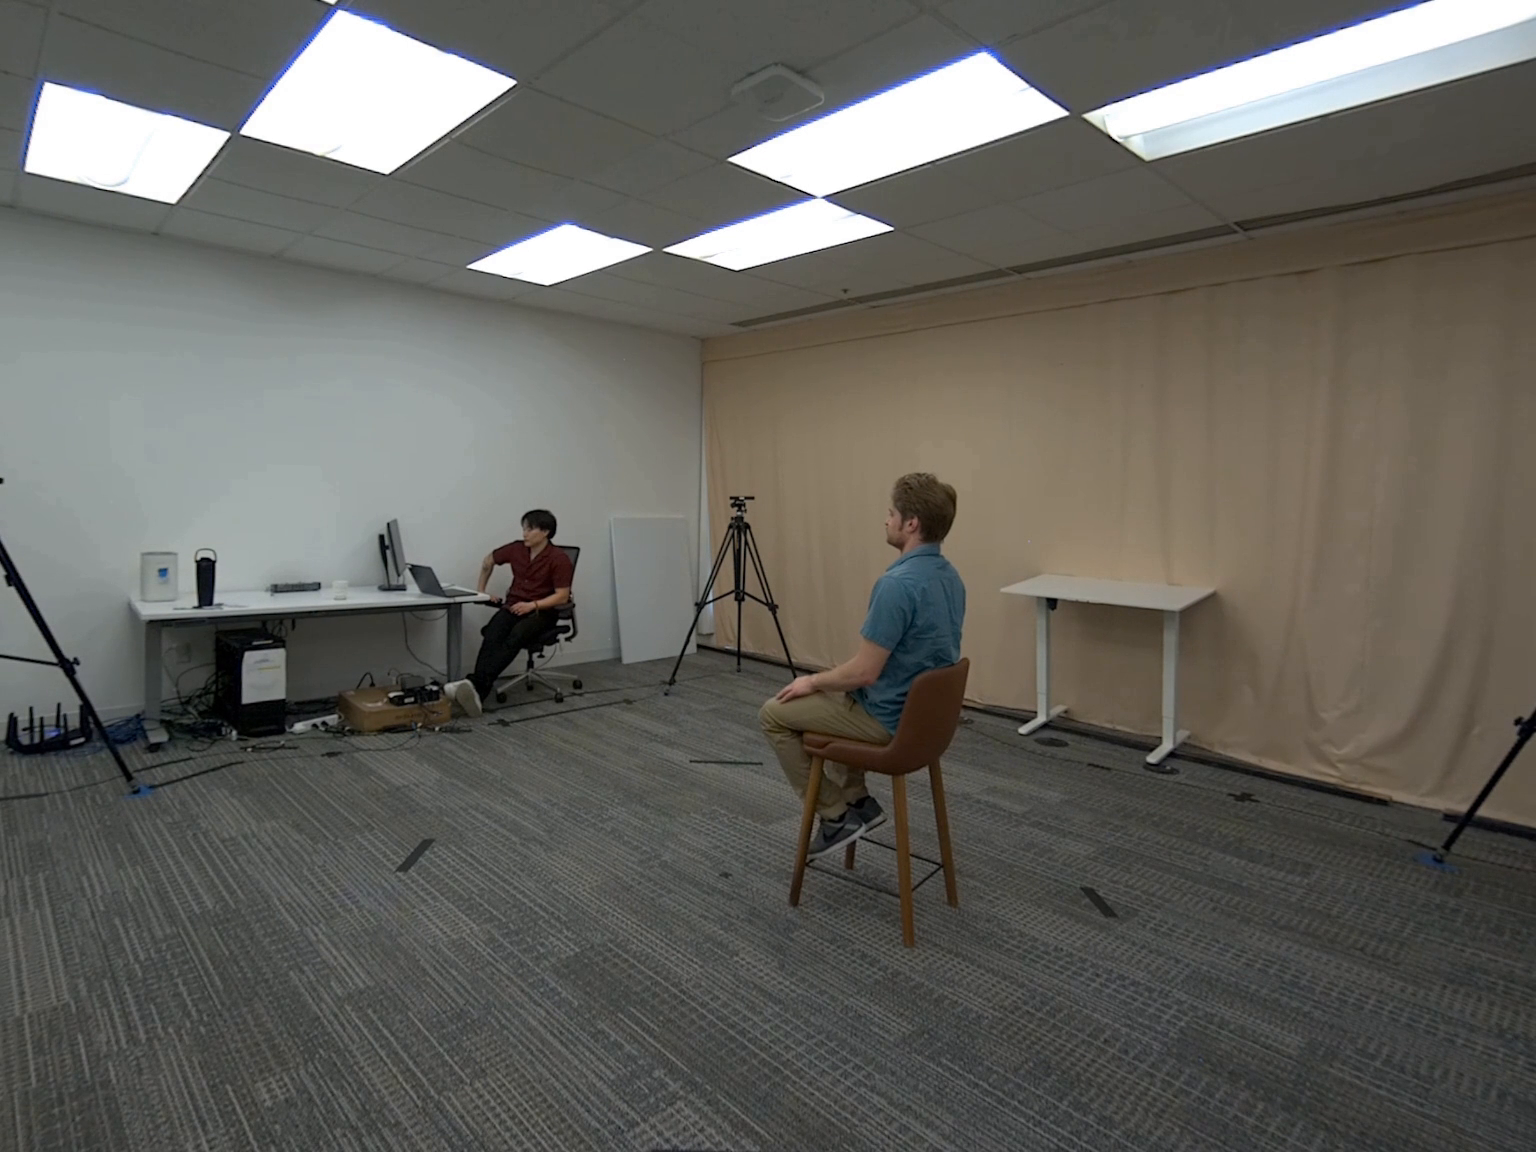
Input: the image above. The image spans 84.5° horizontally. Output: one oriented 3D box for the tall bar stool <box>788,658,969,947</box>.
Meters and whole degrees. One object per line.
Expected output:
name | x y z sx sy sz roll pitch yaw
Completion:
tall bar stool | 0.385 0.700 2.872 0.479 0.886 0.447 7 7 36
